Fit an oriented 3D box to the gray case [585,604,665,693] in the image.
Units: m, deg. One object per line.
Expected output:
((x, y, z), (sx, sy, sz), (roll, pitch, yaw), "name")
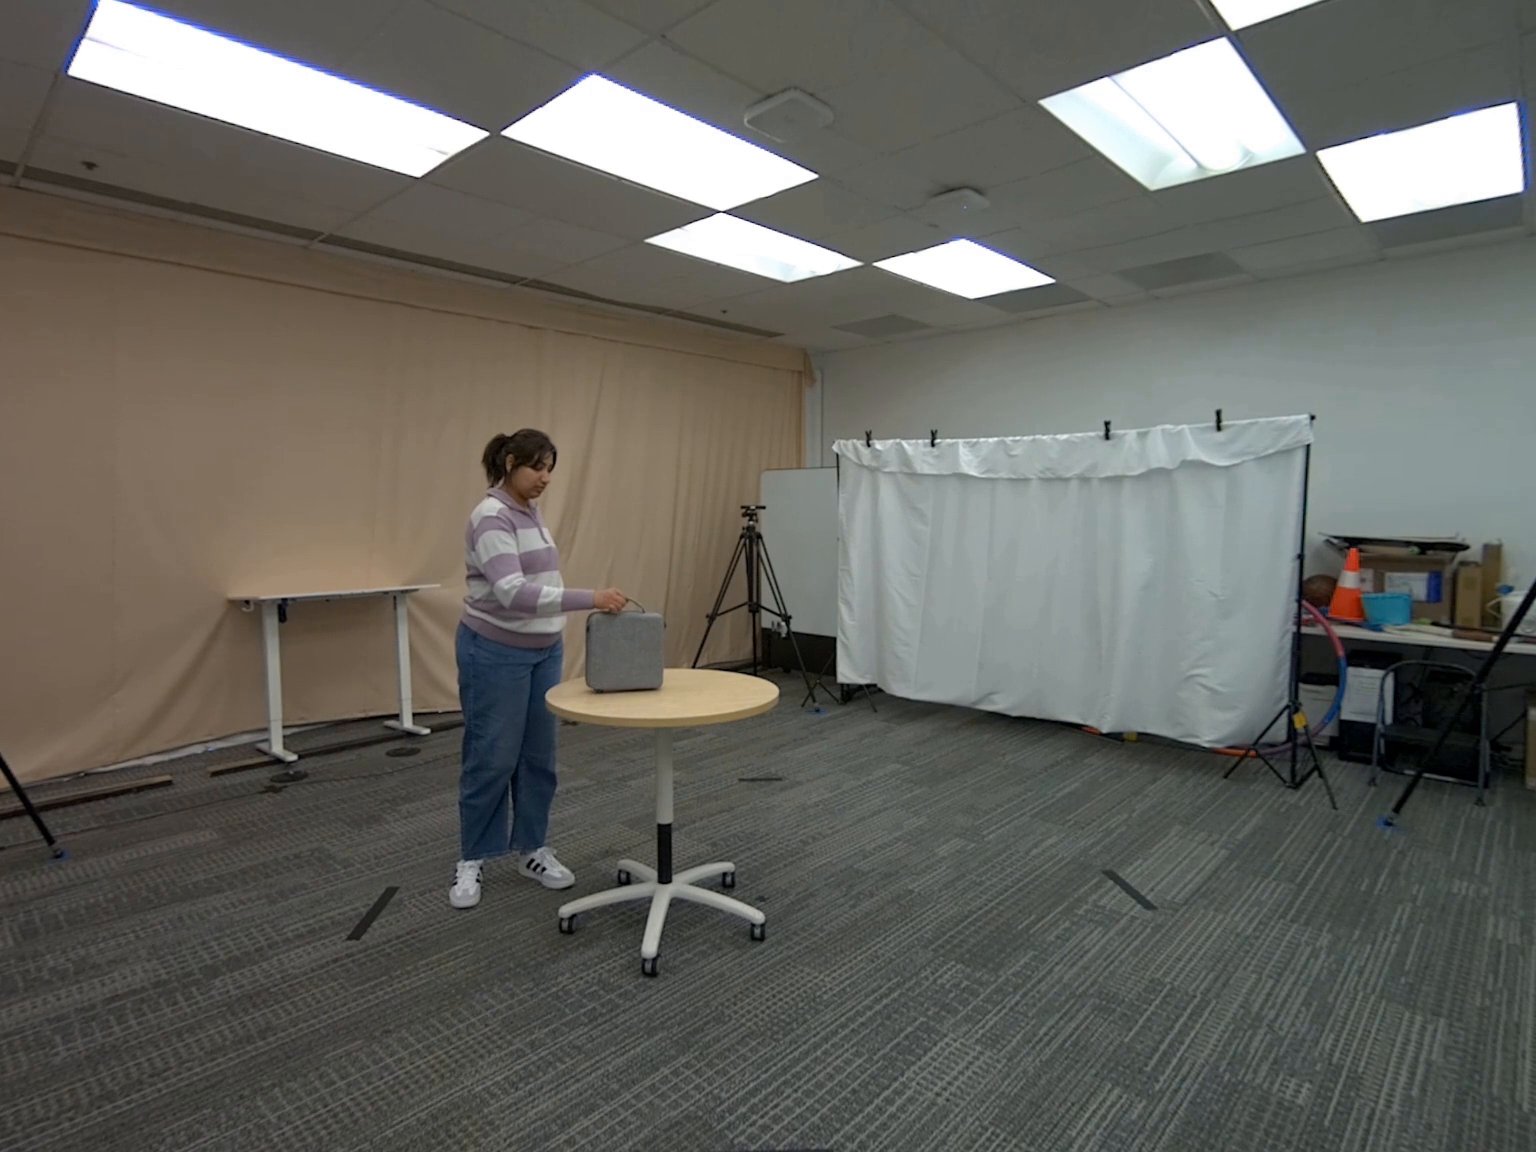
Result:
((-0.471, 0.245, 2.783), (0.253, 0.261, 0.106), (0, -2, -14), "gray case")
